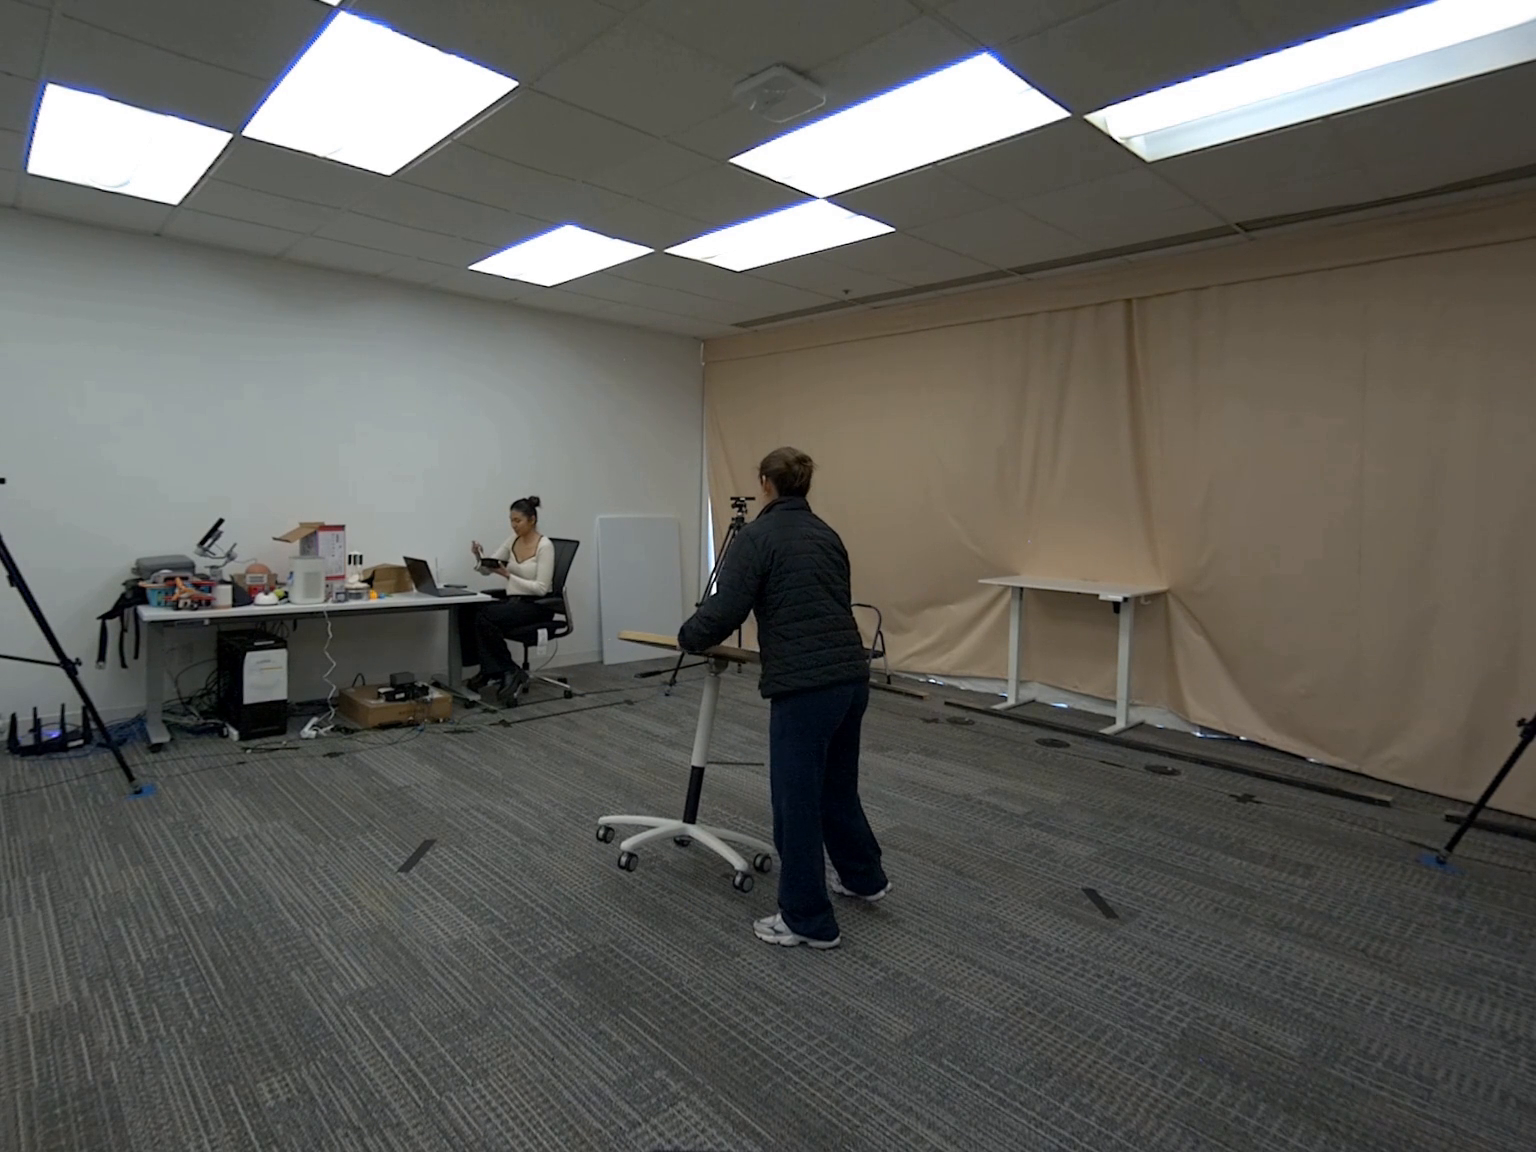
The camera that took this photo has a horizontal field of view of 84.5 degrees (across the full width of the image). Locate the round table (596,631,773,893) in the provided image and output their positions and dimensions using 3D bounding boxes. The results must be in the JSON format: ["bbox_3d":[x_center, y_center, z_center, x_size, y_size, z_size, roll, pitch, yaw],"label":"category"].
[{"bbox_3d":[-0.252,0.660,3.099,0.786,0.791,0.780,9,-8,0],"label":"round table"}]
